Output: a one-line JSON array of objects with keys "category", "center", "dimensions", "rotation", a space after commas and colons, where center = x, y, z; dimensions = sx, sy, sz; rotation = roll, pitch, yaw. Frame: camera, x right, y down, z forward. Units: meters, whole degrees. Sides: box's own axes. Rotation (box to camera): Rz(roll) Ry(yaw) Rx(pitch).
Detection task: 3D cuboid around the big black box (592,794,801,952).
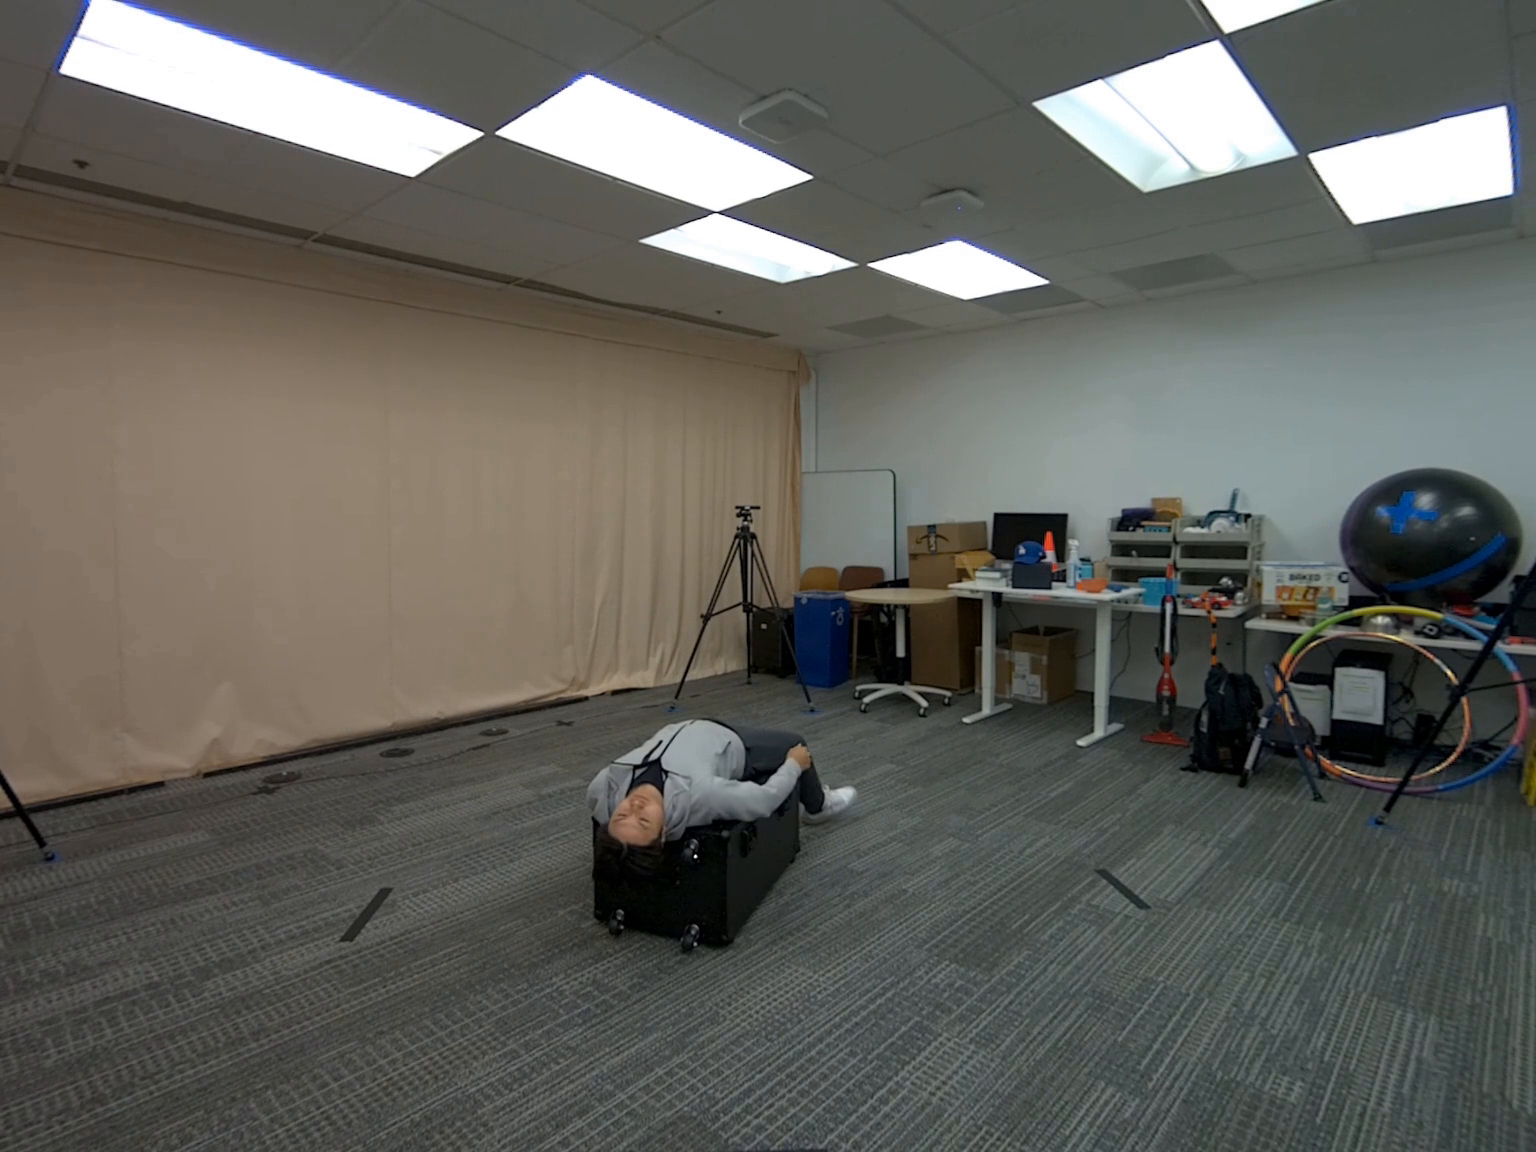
[{"category": "big black box", "center": [-0.214, 0.948, 3.089], "dimensions": [0.533, 0.395, 0.844], "rotation": [2, 5, 21]}]
